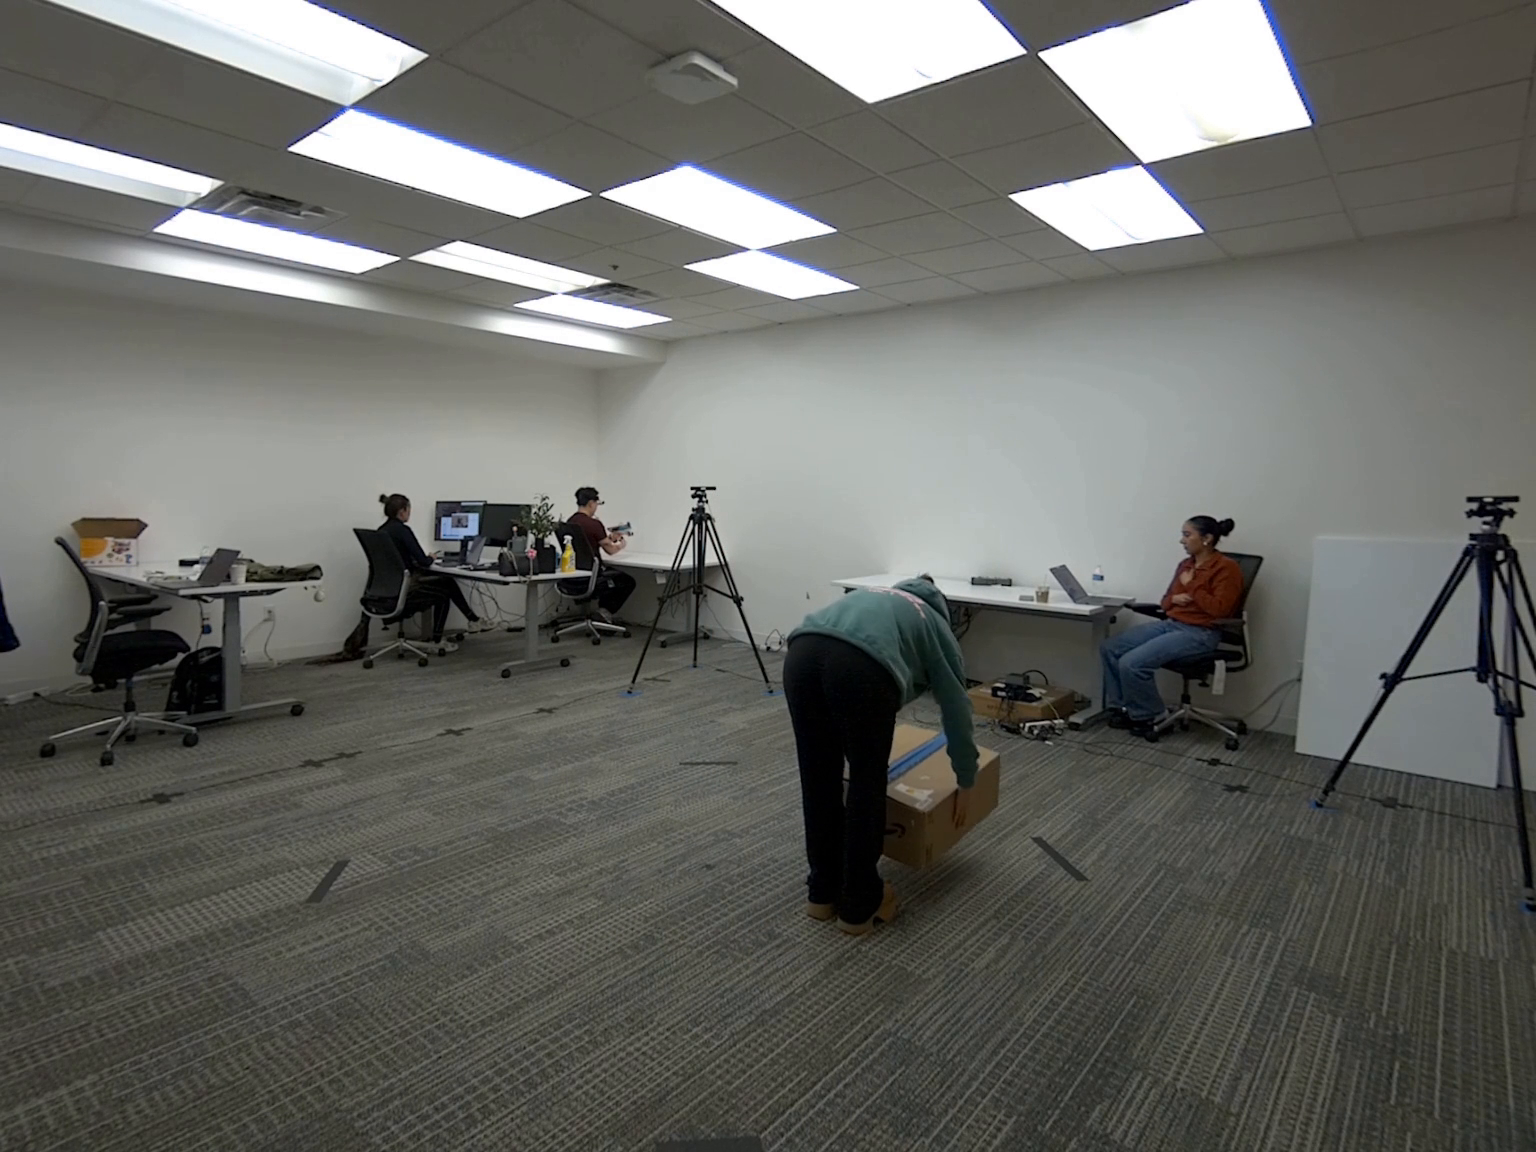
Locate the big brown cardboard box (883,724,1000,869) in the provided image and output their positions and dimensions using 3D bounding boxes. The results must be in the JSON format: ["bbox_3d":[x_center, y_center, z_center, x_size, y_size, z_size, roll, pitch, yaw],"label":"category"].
[{"bbox_3d":[0.517,0.773,3.095,0.432,0.230,0.575,10,17,39],"label":"big brown cardboard box"}]
